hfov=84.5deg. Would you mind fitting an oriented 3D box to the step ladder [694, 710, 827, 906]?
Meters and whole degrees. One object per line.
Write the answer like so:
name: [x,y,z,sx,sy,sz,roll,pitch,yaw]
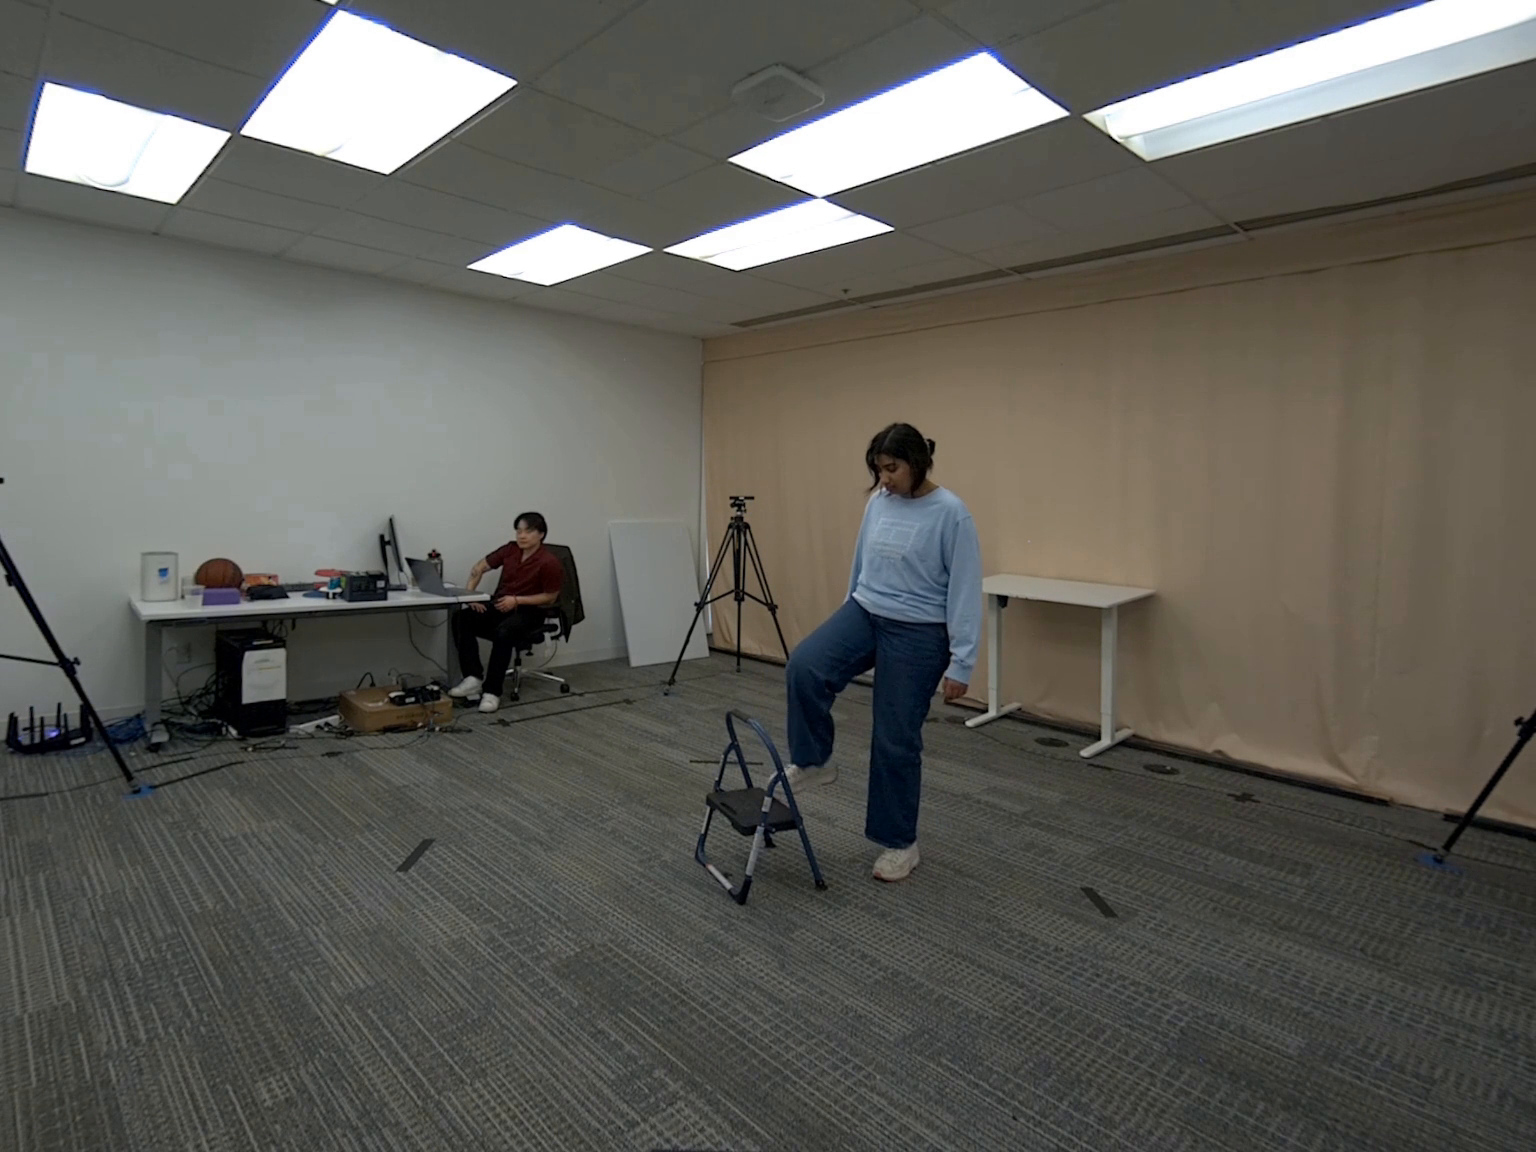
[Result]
step ladder: [-0.037,0.805,3.110,0.343,0.605,0.440,0,4,-27]
